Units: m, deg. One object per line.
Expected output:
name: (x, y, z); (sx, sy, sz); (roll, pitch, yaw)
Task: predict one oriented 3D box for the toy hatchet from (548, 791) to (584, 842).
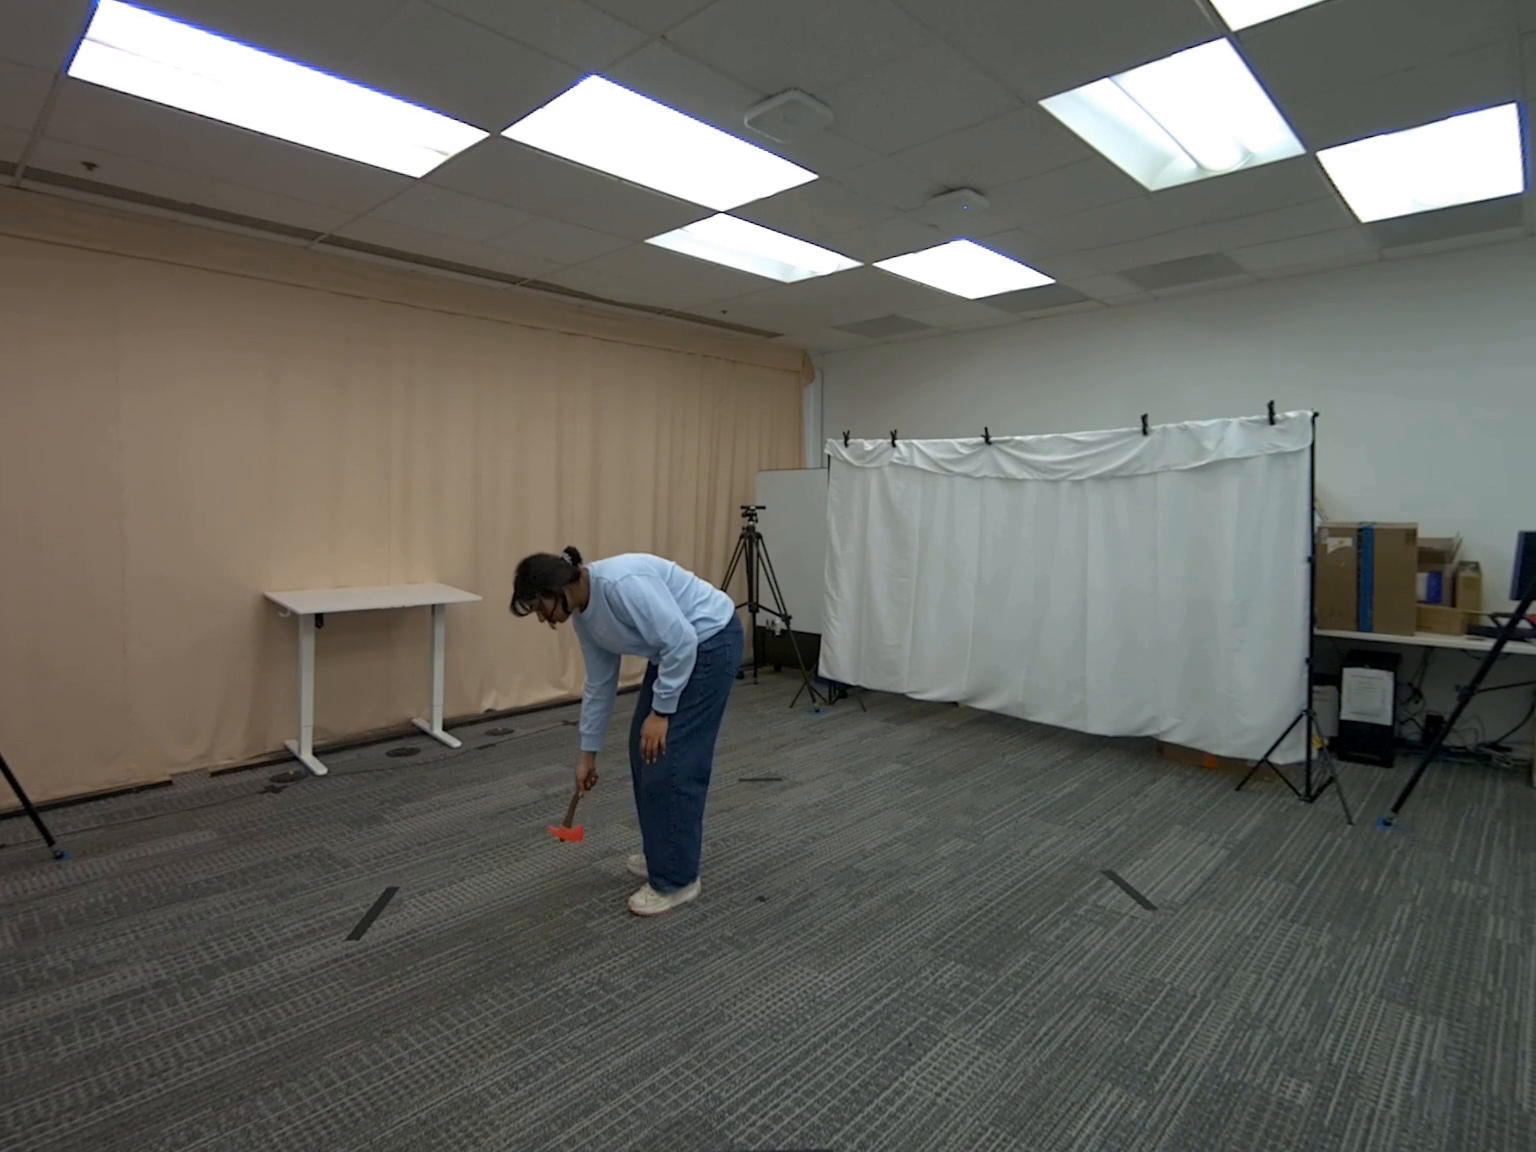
toy hatchet: (-0.674, 0.866, 3.083); (0.132, 0.270, 0.029); (36, 1, 9)
